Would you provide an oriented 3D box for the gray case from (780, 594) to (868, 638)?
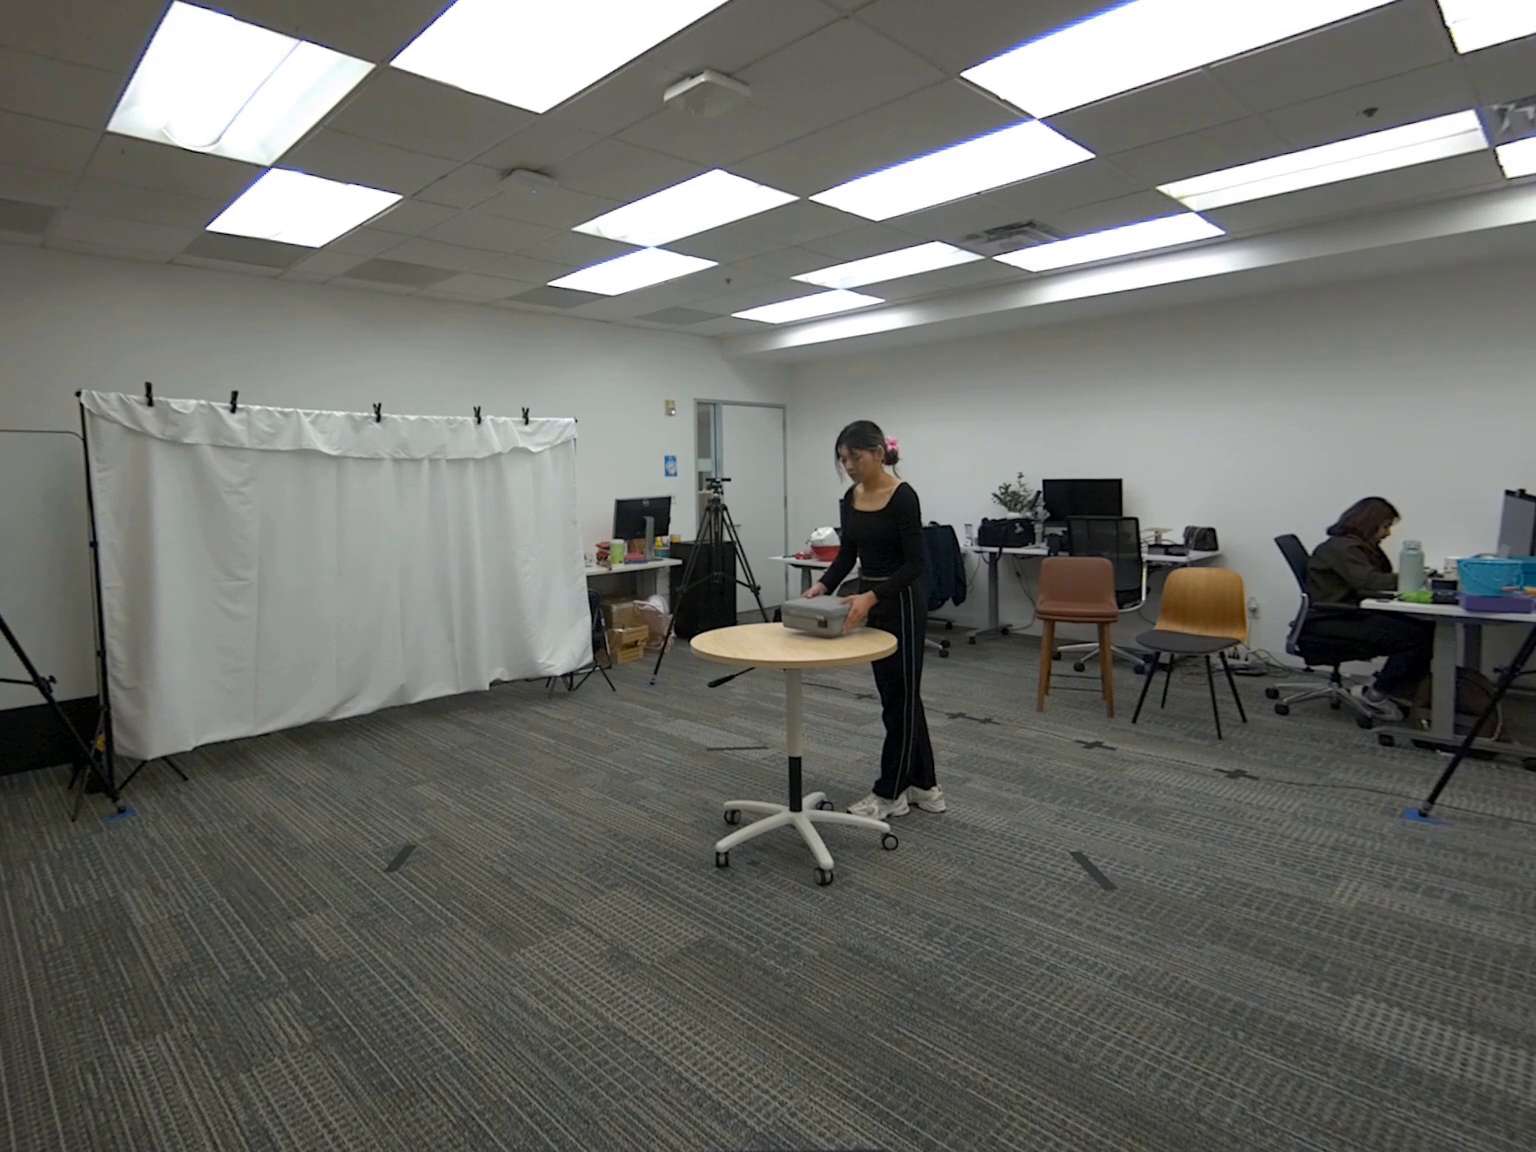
[{"bbox_3d":[0.228,0.145,3.272,0.264,0.103,0.255,2,10,34],"label":"gray case"}]
